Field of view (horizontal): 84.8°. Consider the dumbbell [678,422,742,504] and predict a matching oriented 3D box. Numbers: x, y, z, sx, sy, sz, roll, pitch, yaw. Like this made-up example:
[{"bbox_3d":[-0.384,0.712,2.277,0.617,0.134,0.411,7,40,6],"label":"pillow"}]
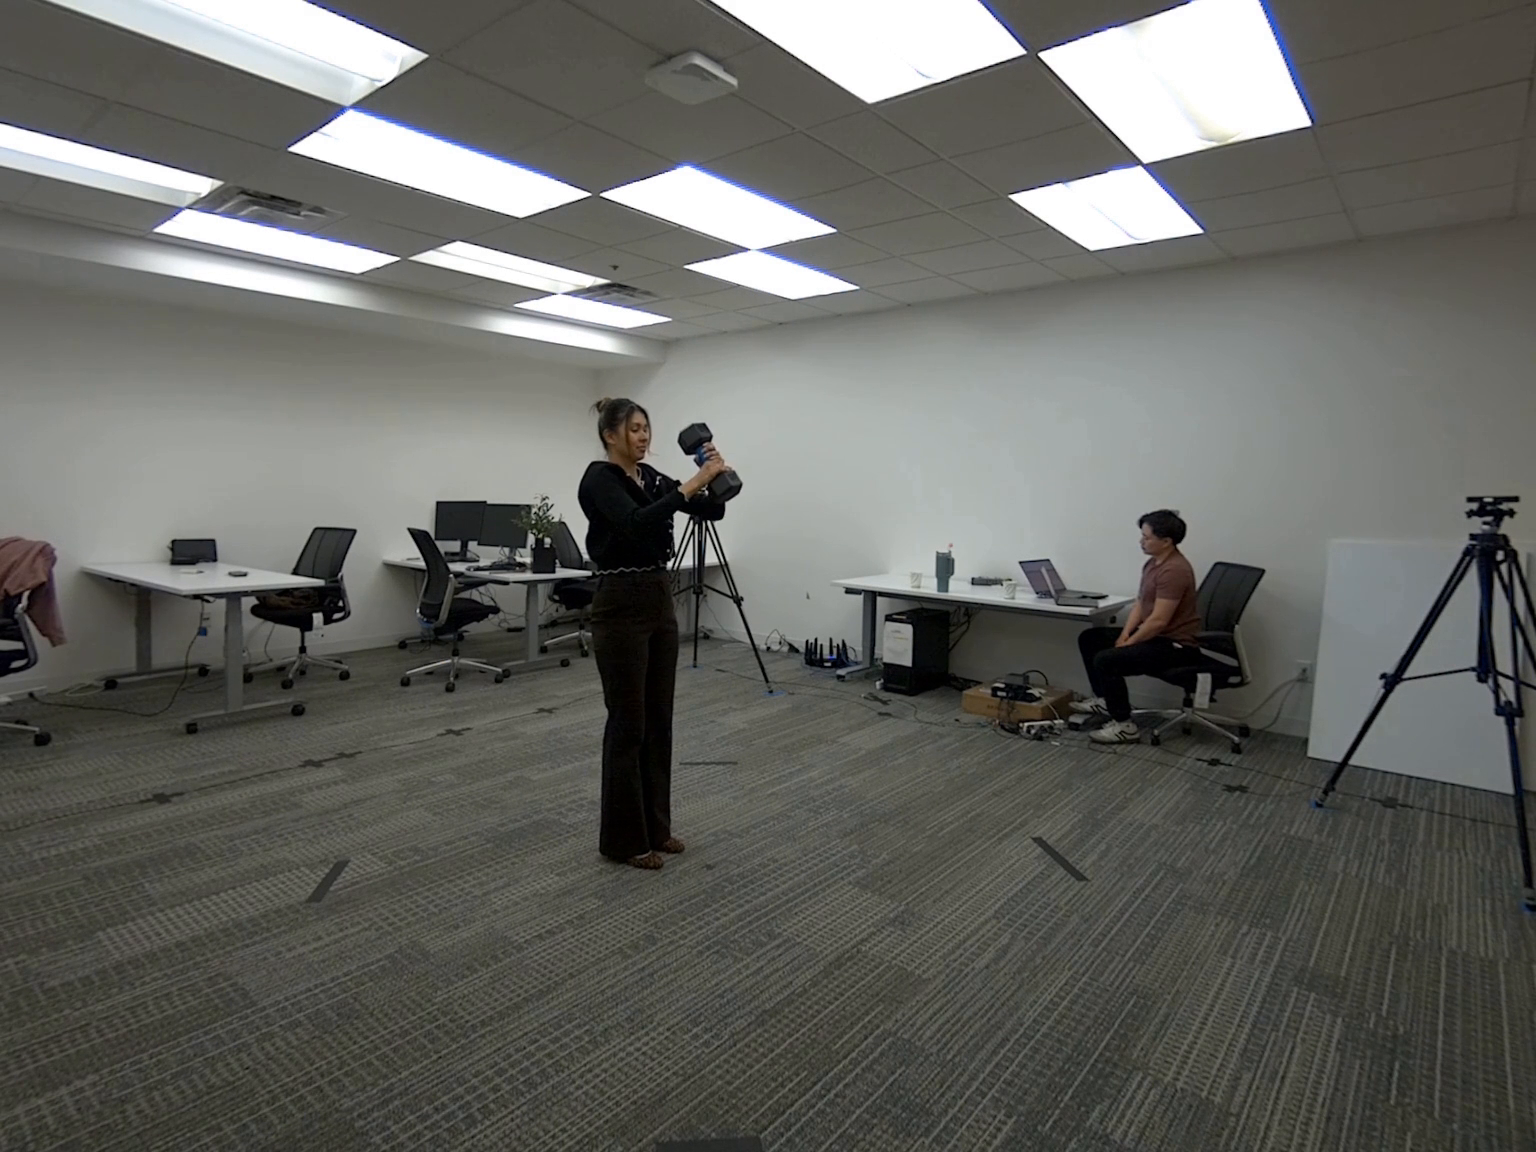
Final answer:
[{"bbox_3d":[-0.225,-0.415,3.034,0.108,0.300,0.121,-28,-15,-21],"label":"dumbbell"}]
